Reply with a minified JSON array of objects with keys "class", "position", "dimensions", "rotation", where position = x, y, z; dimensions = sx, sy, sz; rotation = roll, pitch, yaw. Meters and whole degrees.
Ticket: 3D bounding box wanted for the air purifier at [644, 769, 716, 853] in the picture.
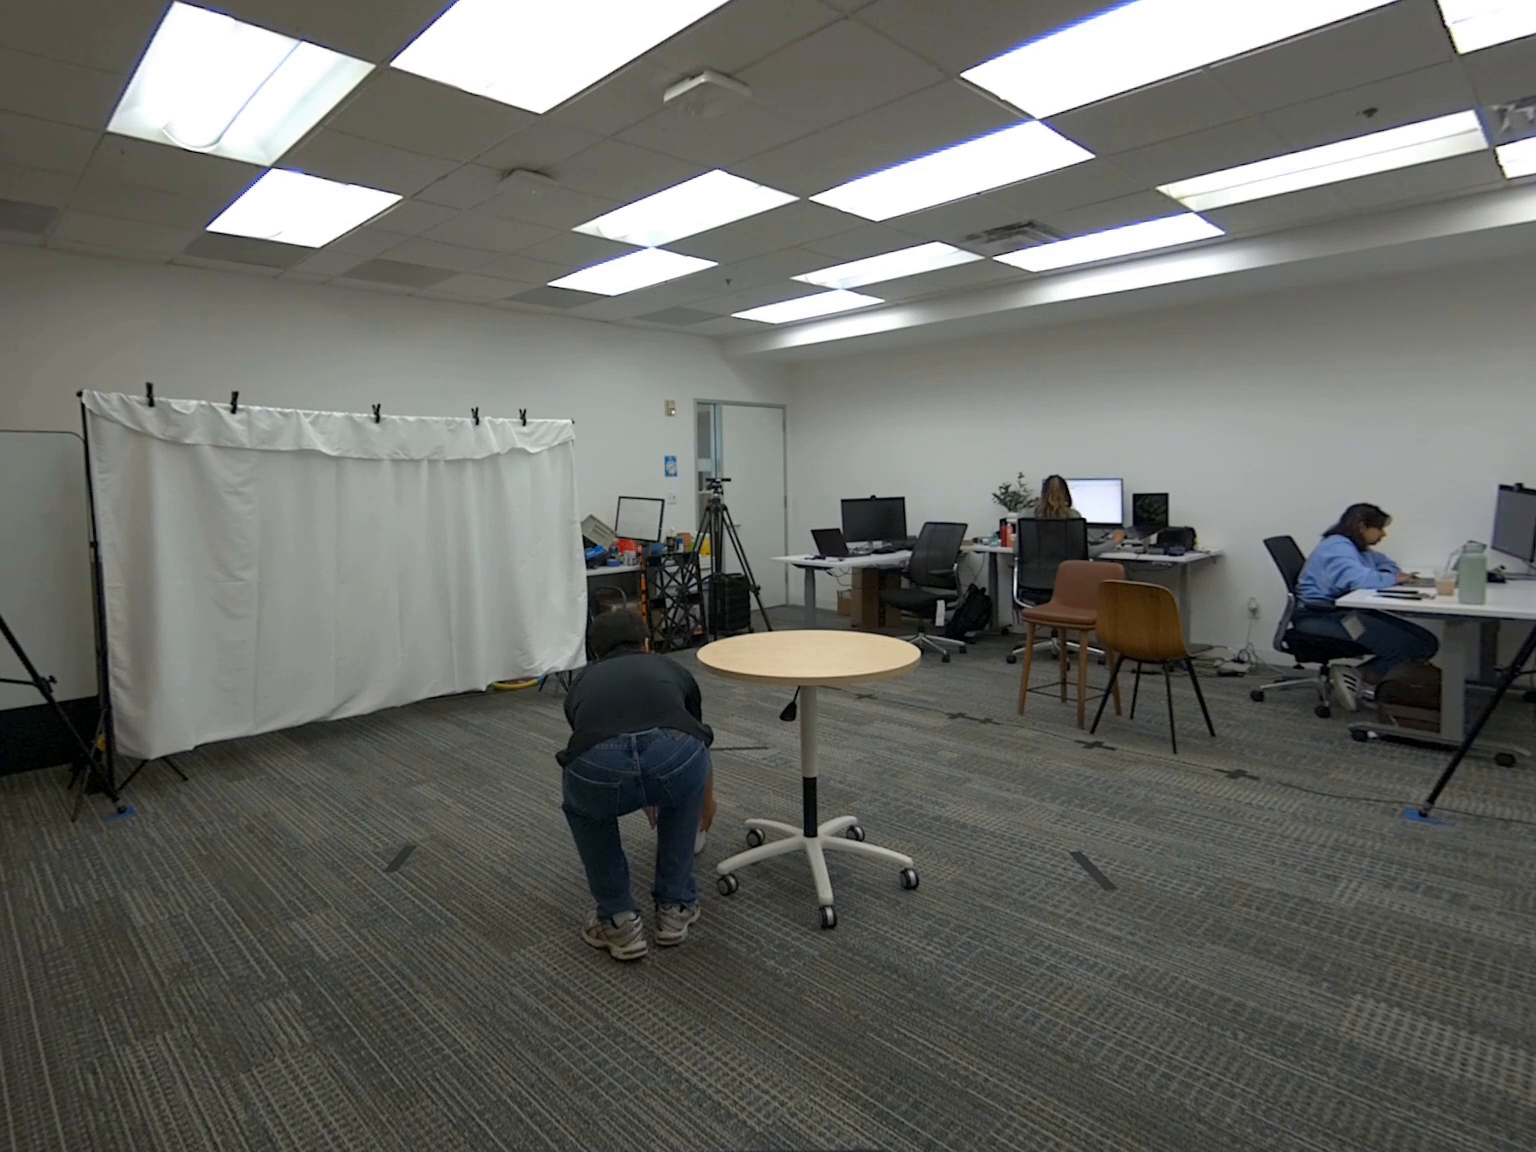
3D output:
[{"class":"air purifier","position":[-0.328,0.902,3.232],"dimensions":[0.172,0.264,0.171],"rotation":[-2,3,5]}]
